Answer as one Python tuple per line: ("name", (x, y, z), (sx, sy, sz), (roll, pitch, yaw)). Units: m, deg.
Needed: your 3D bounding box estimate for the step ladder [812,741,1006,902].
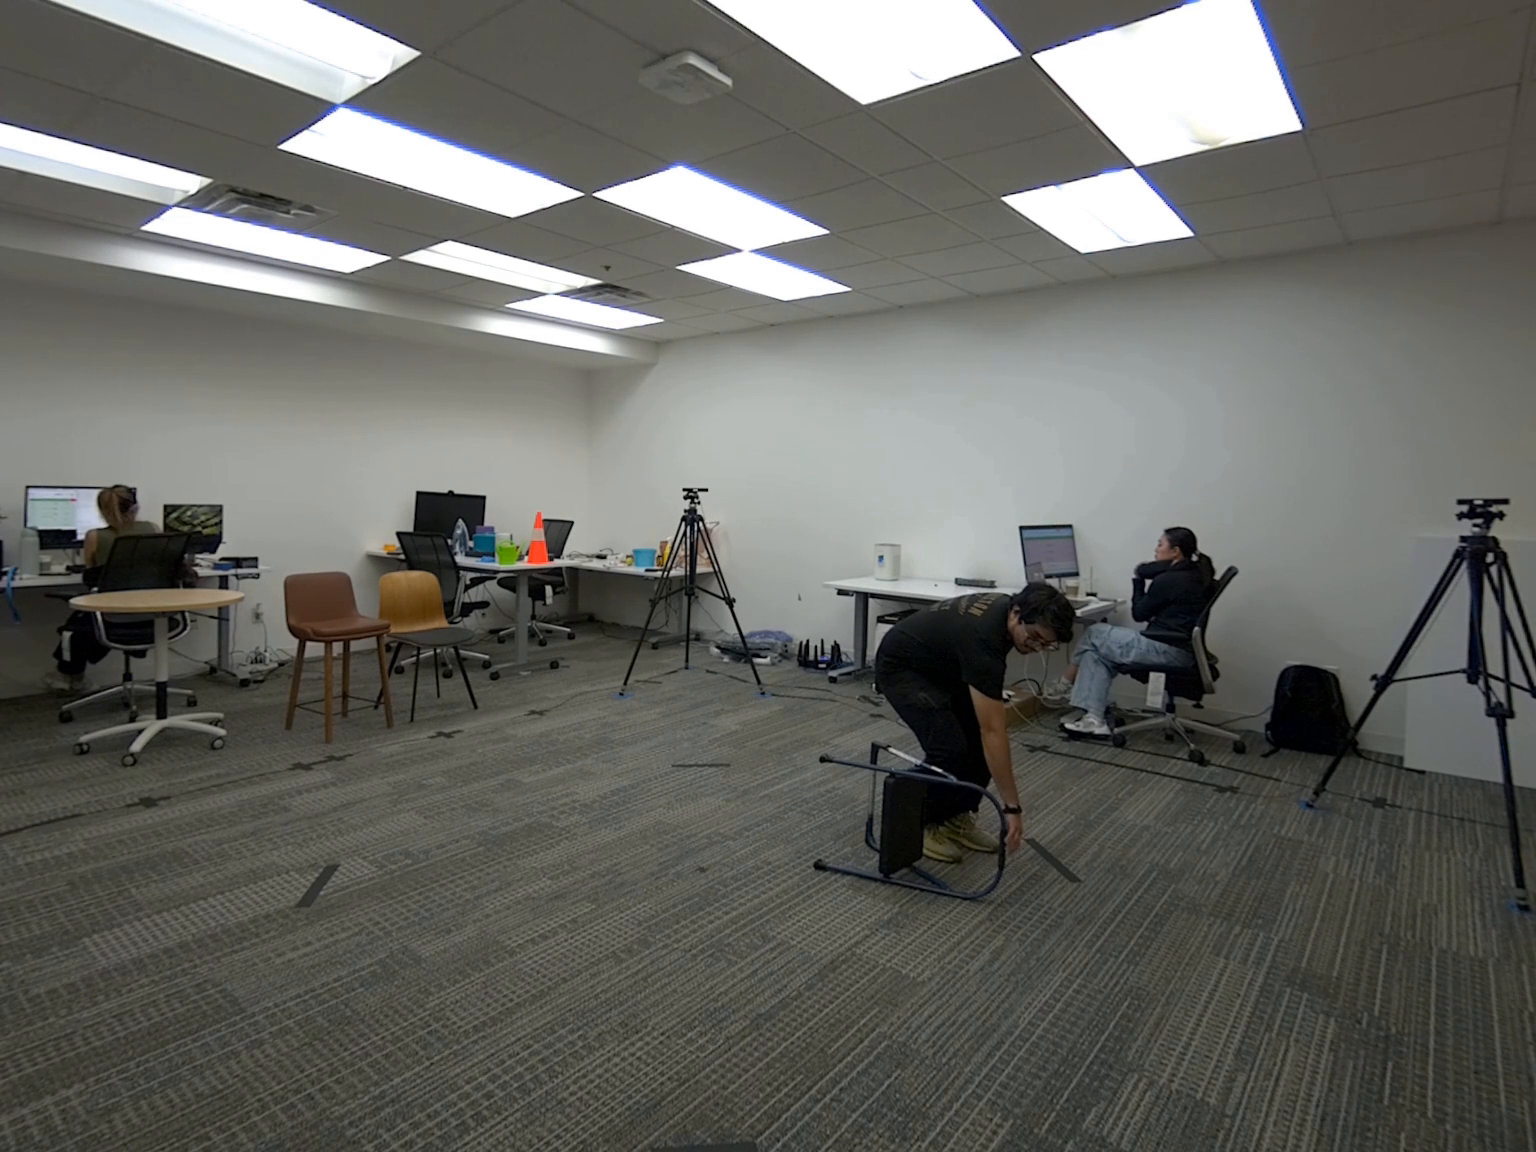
("step ladder", (0.511, 0.886, 3.032), (0.628, 0.428, 0.339), (9, 9, 42))
